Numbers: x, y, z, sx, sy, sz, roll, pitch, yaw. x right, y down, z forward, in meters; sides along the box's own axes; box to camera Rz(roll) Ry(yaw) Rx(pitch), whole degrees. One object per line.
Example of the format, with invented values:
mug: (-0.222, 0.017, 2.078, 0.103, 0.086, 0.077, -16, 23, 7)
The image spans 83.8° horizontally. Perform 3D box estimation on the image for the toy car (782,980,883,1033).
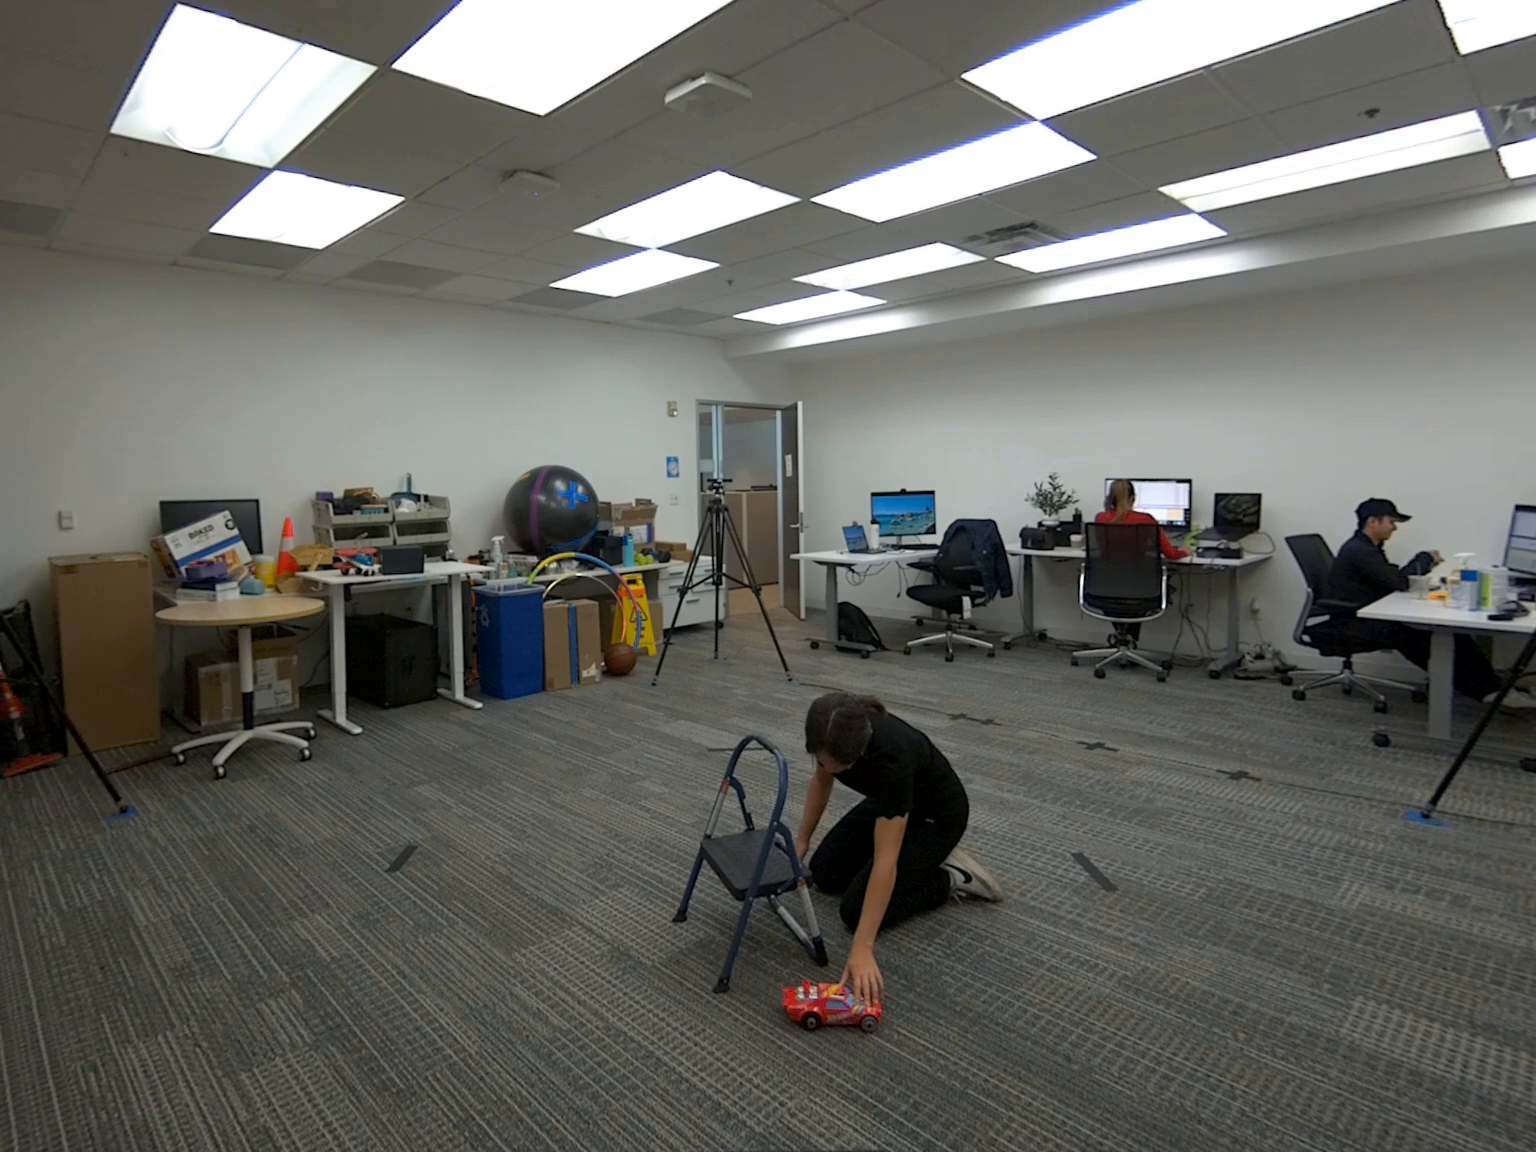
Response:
toy car: (0.172, 1.117, 2.210, 0.254, 0.083, 0.131, 9, 8, 0)
